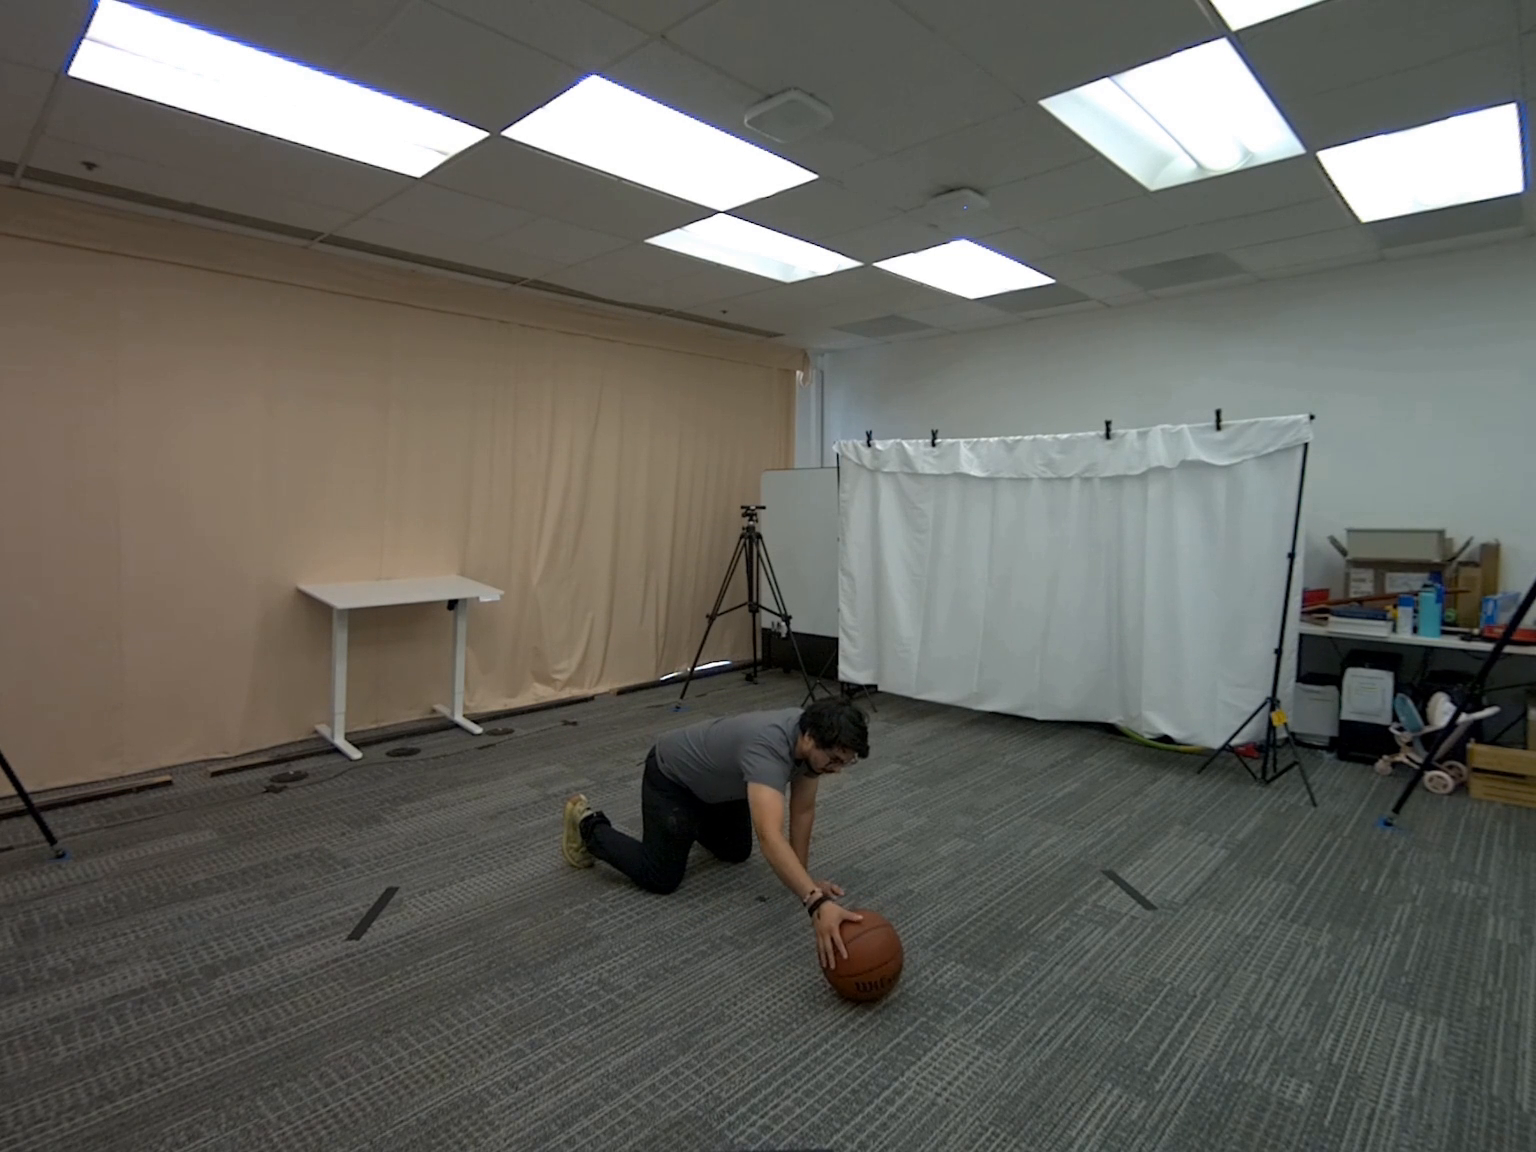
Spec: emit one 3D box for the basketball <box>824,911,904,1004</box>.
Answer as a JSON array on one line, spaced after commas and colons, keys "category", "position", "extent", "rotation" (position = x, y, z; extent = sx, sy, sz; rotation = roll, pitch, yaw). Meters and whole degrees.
[{"category": "basketball", "position": [0.269, 1.072, 2.385], "extent": [0.236, 0.235, 0.237], "rotation": [0, 4, -2]}]
